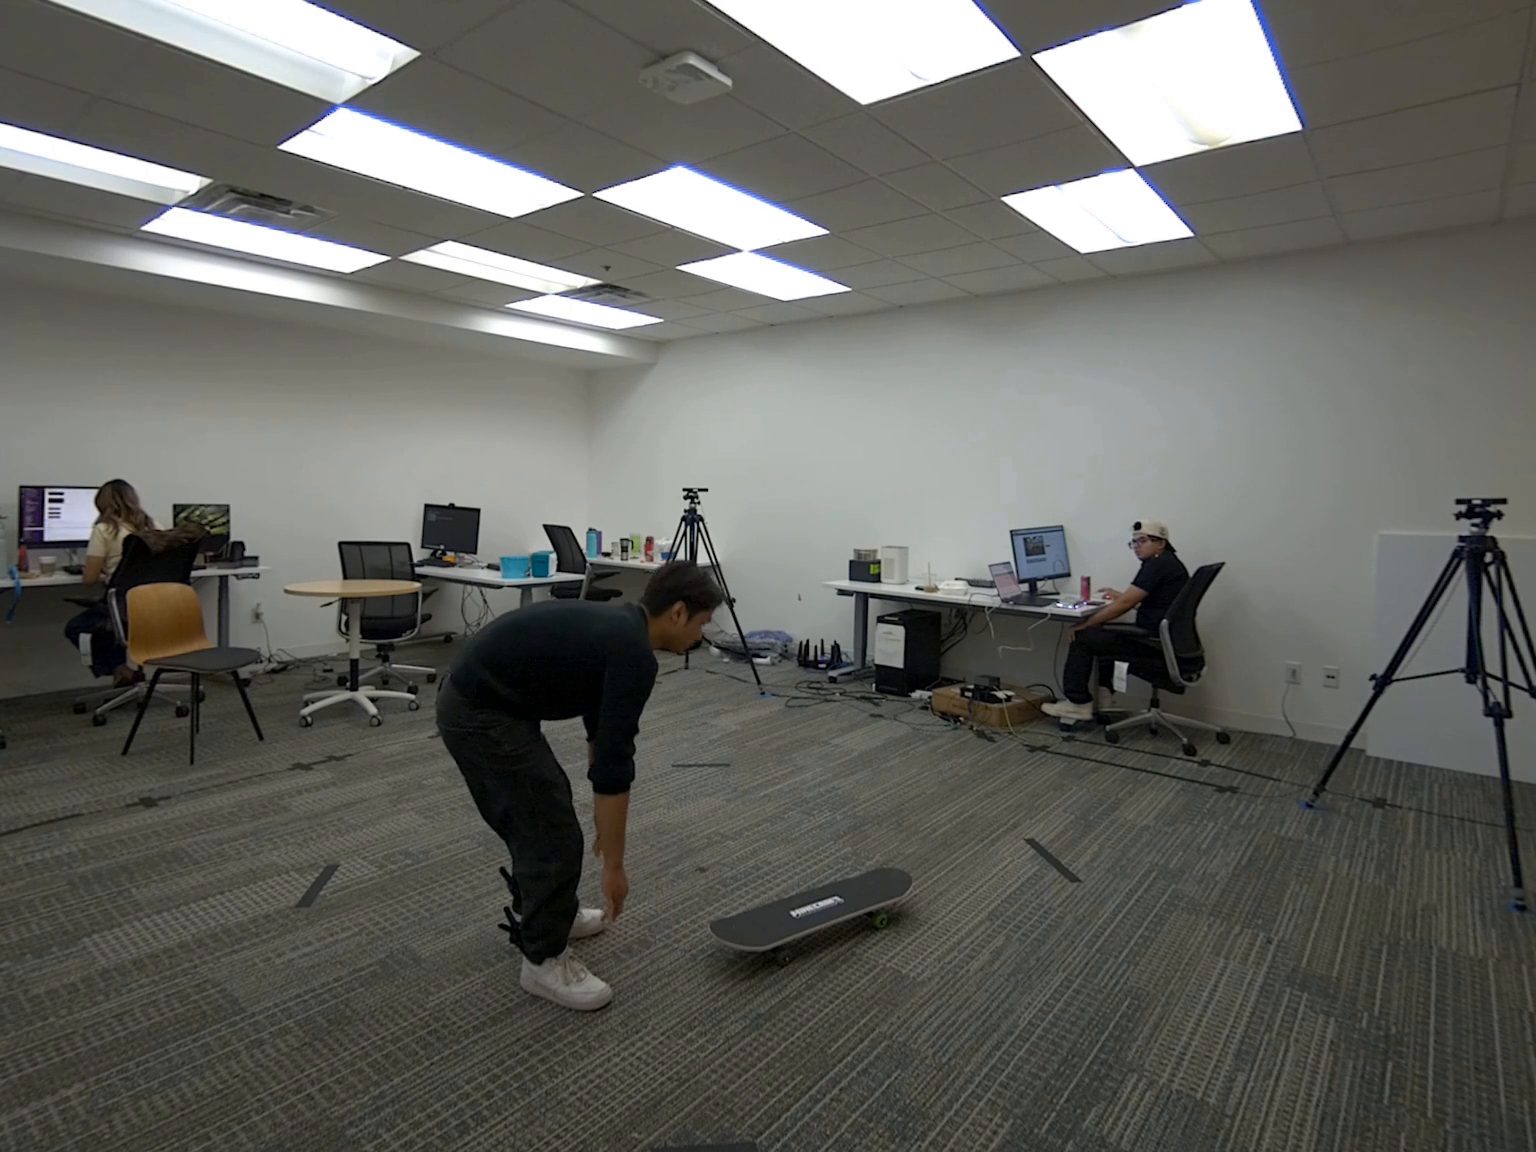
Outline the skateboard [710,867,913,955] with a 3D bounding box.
[{"bbox_3d":[0.154,1.067,2.661,0.763,0.110,0.200,-3,7,-37],"label":"skateboard"}]
